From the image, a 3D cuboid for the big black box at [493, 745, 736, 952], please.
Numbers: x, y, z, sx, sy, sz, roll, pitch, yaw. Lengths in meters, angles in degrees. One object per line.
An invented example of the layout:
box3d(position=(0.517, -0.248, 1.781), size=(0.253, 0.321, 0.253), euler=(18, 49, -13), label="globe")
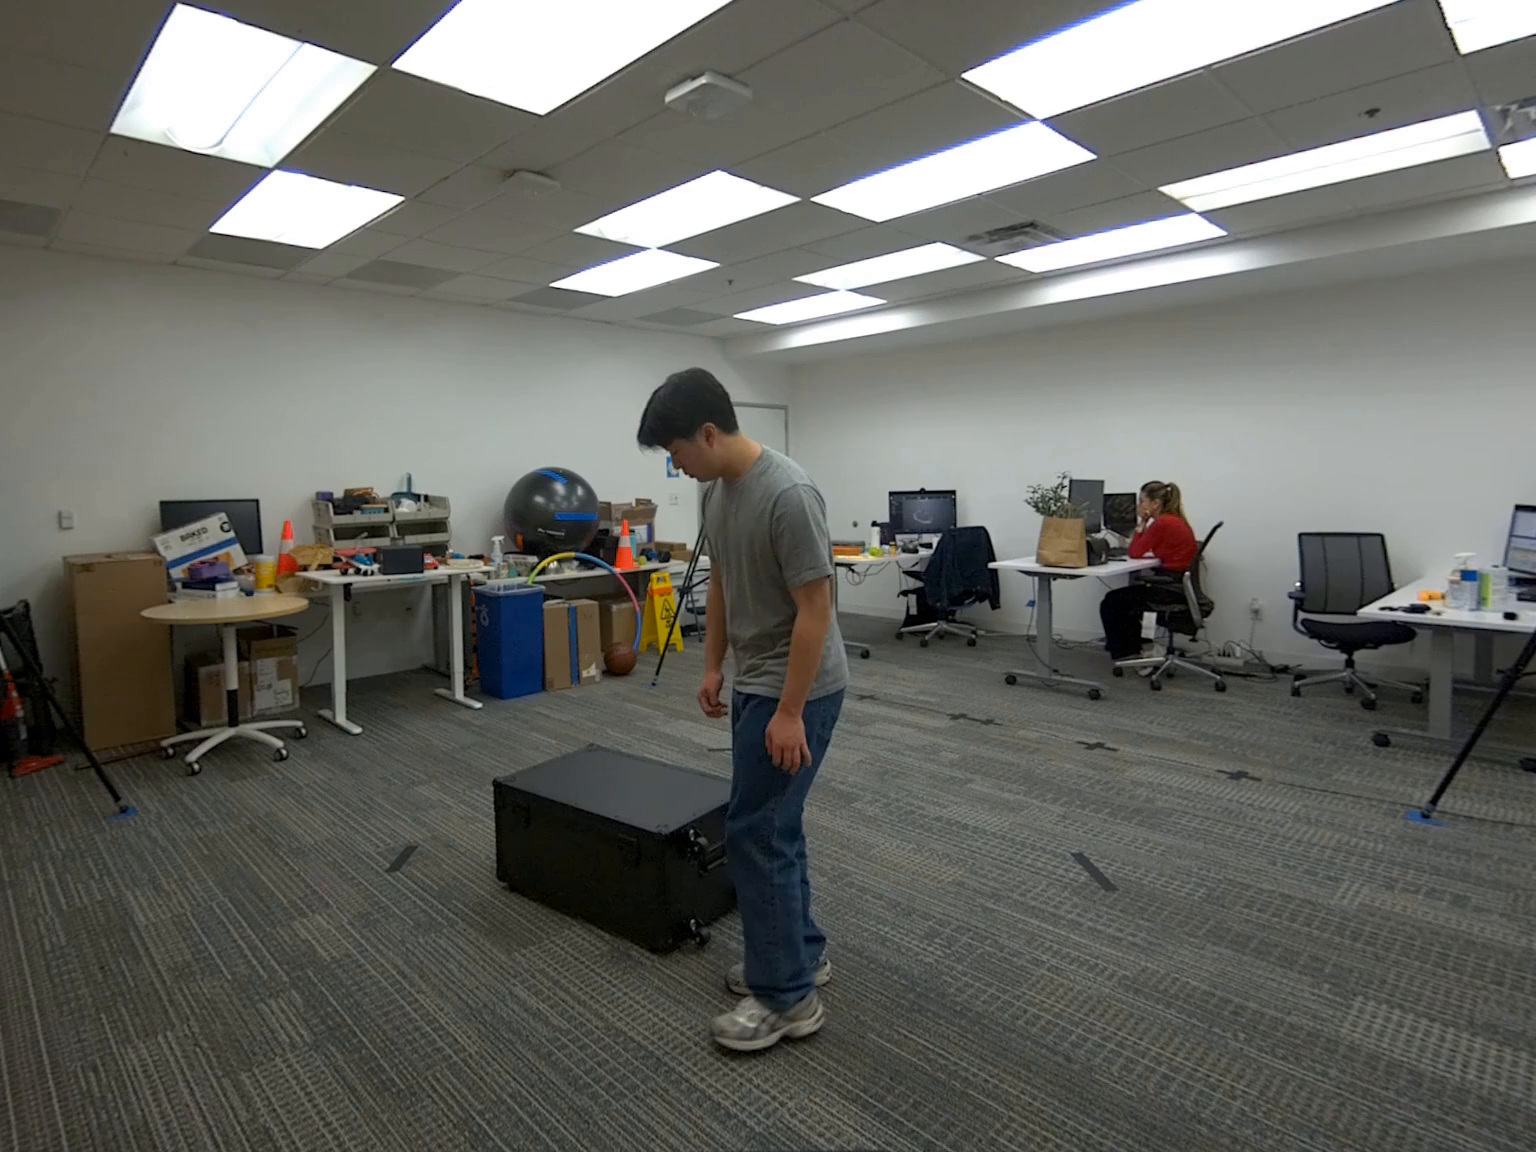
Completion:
box3d(position=(-0.458, 0.887, 2.889), size=(0.887, 0.394, 0.508), euler=(4, 7, 35), label="big black box")
